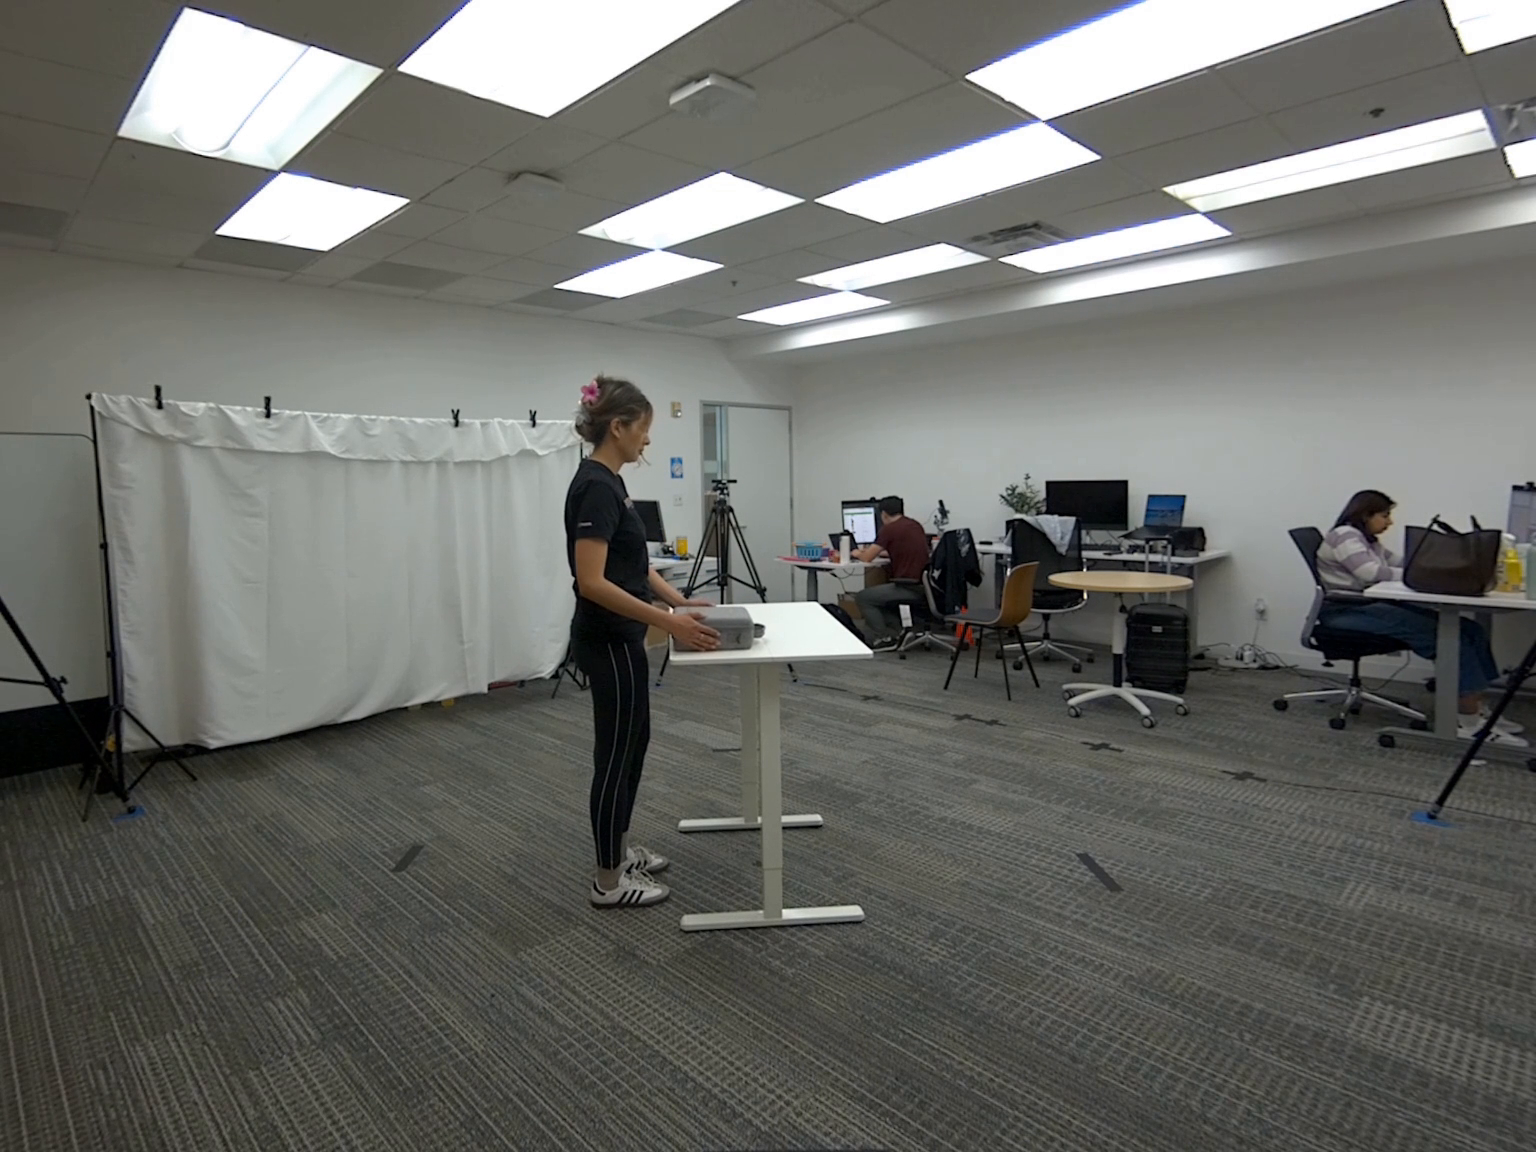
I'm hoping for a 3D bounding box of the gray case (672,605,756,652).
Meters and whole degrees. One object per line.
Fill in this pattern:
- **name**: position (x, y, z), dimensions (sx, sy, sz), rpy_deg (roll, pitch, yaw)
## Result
- **gray case**: position (-0.180, 0.161, 2.718), dimensions (0.260, 0.104, 0.258), rpy_deg (0, 4, -2)
